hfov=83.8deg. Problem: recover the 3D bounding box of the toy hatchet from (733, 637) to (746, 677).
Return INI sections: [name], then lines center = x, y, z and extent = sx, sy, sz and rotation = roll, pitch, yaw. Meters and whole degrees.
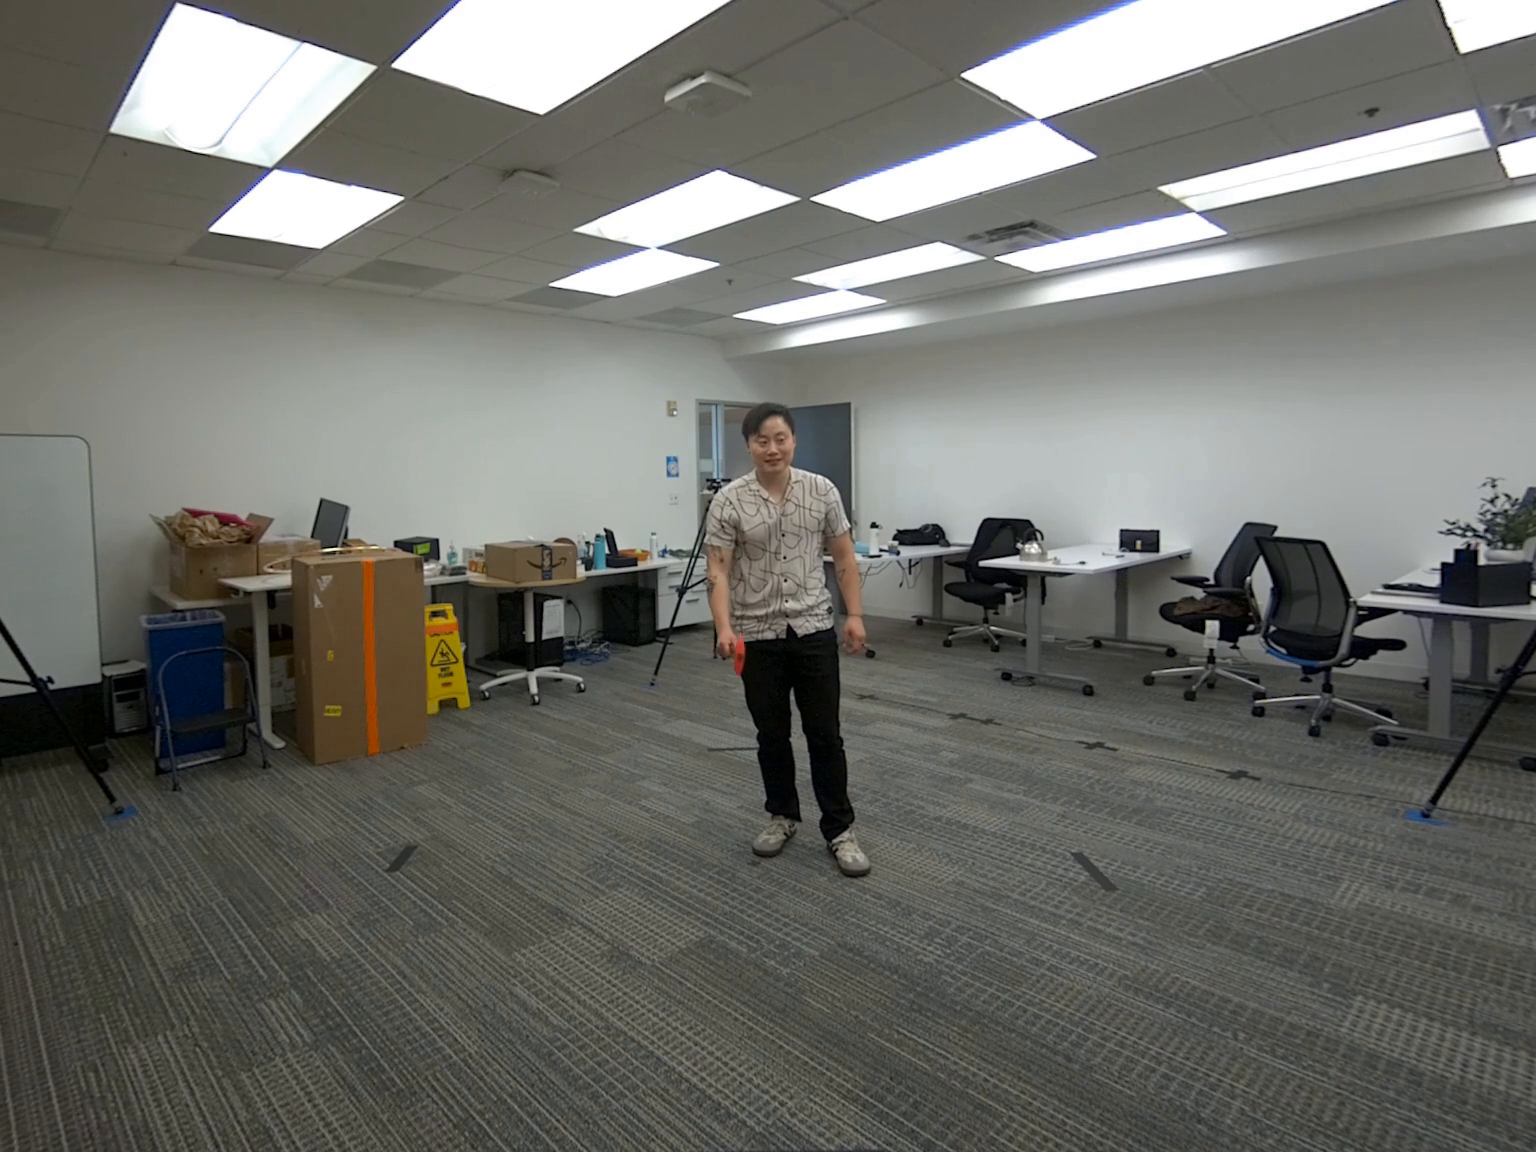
[toy hatchet]
center = -0.113, 0.276, 2.856
extent = 0.029, 0.133, 0.269
rotation = -2, -14, -13
